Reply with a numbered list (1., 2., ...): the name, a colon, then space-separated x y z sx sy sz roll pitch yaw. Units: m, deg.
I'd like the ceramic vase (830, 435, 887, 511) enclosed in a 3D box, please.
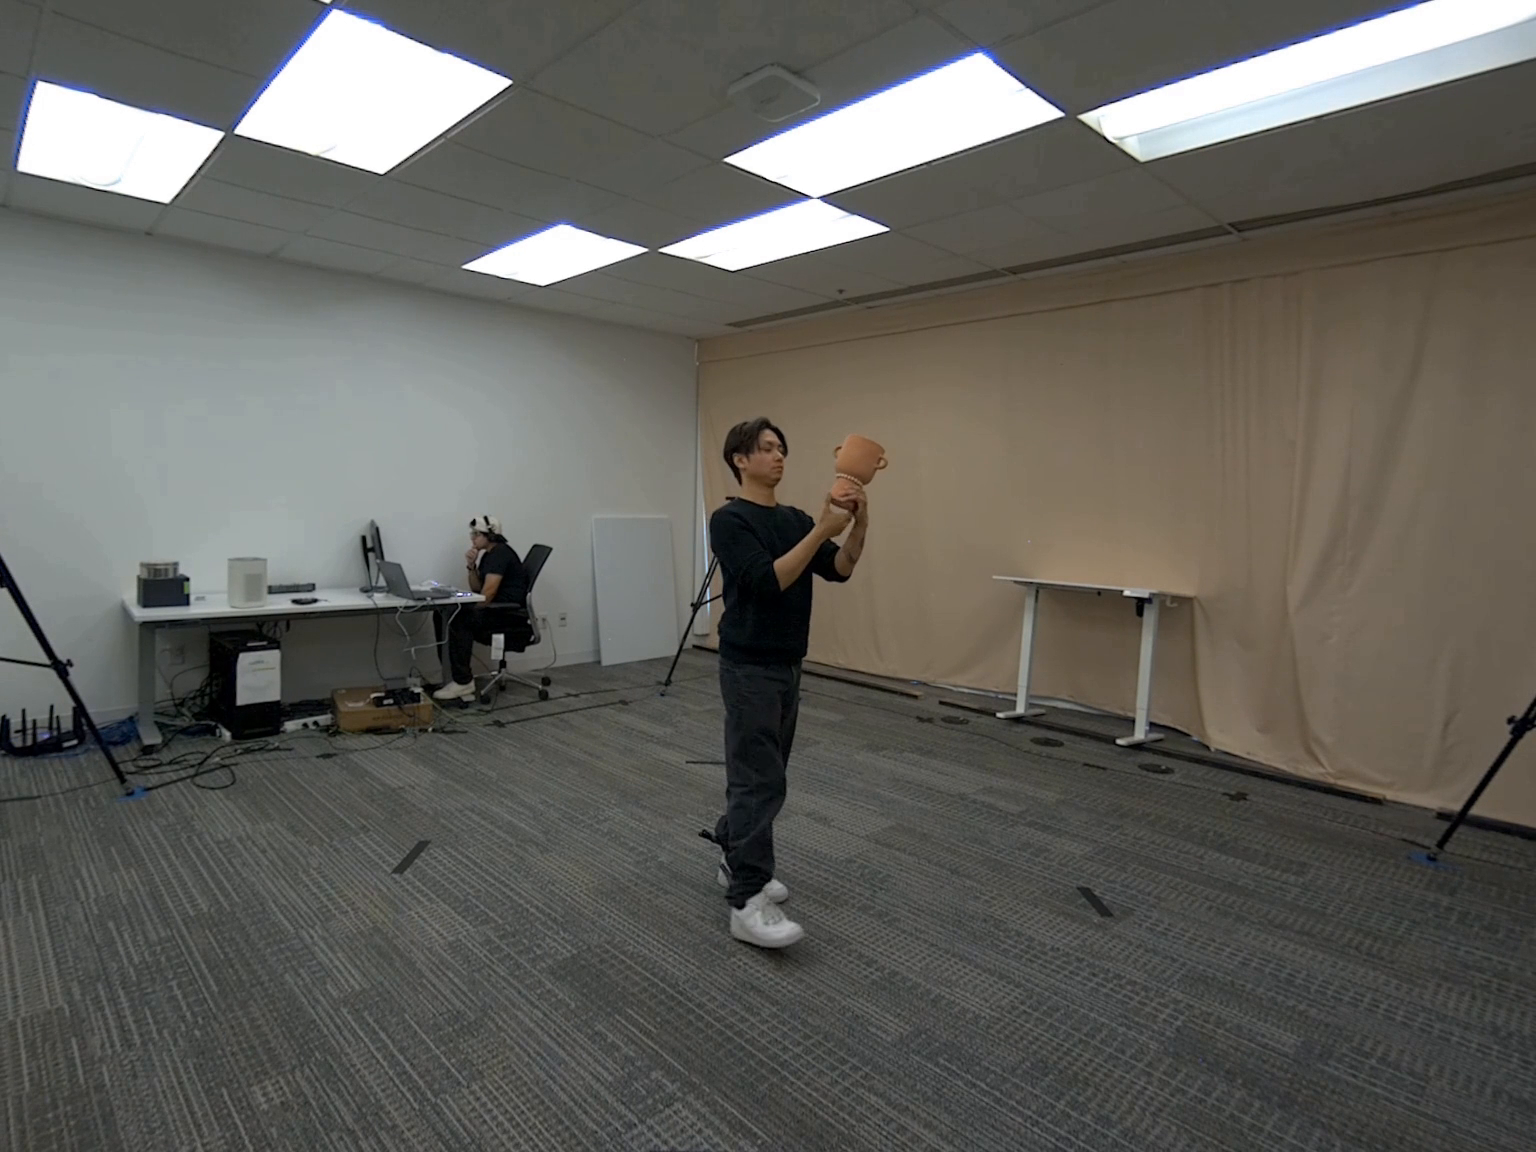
1. ceramic vase: 0.270 -0.331 2.726 0.132 0.220 0.161 27 -7 -19
